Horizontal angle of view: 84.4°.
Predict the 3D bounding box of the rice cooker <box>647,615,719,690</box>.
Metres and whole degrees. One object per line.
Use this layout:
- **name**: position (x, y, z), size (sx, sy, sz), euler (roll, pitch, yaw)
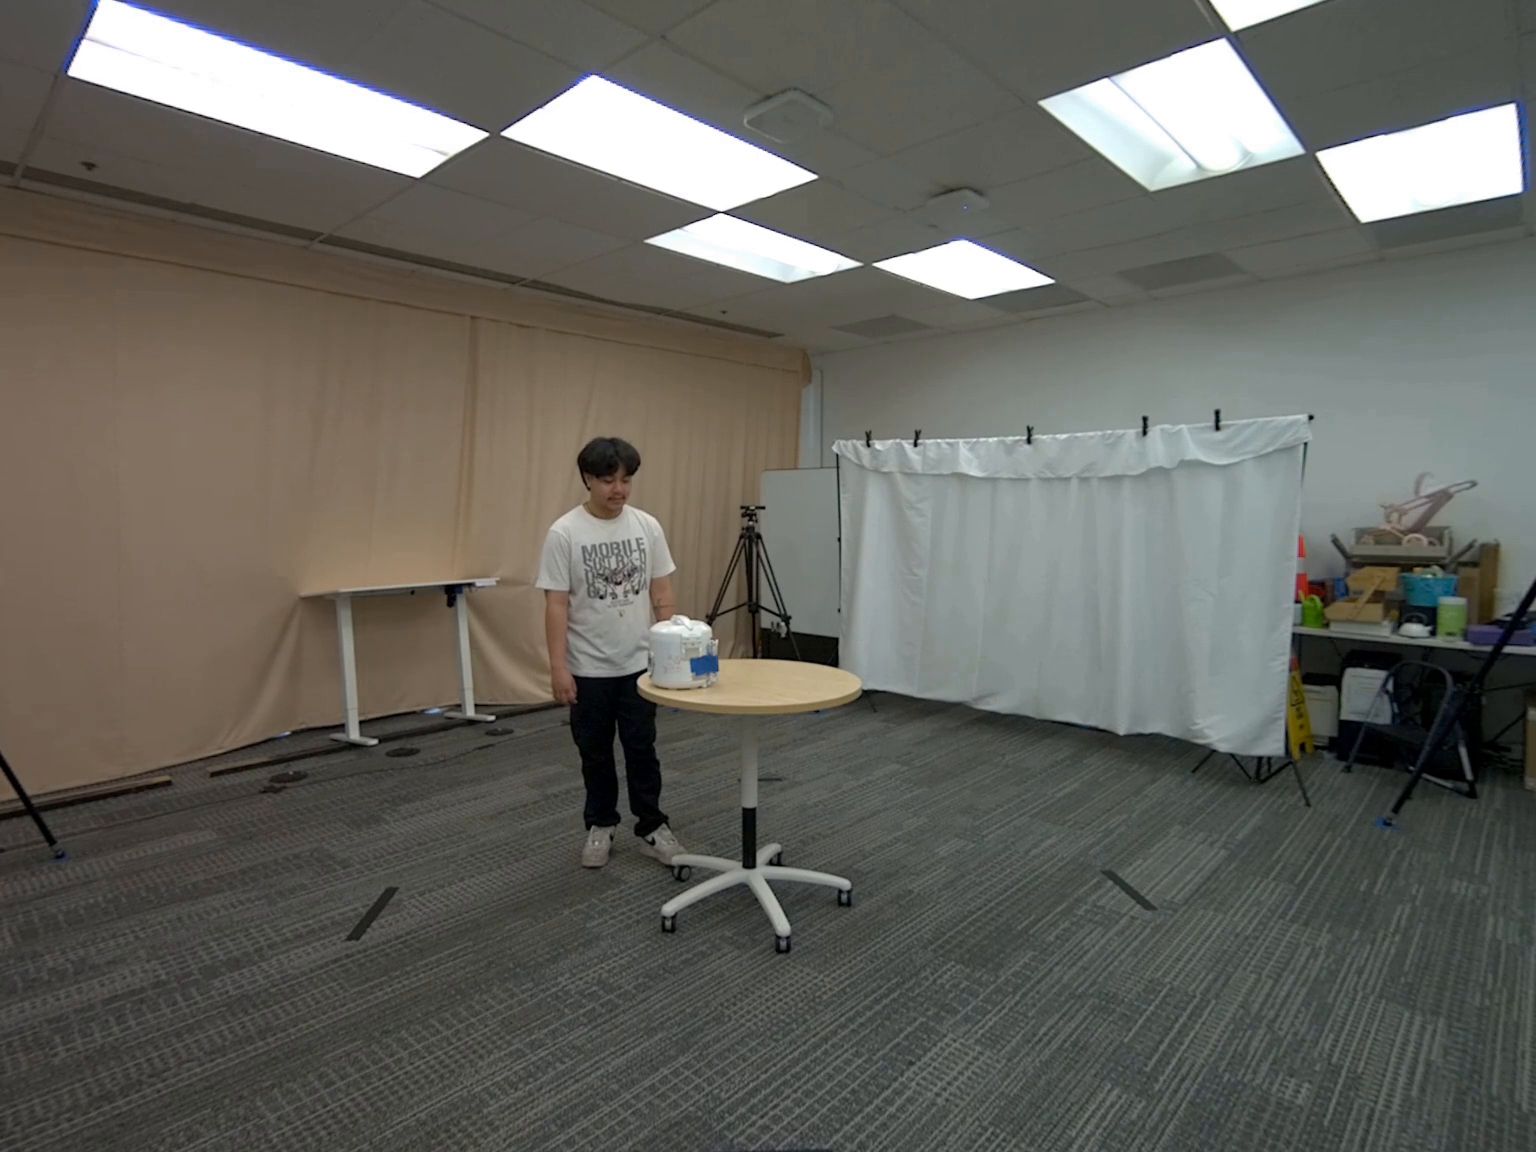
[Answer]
- **rice cooker**: position (-0.289, 0.247, 2.797), size (0.212, 0.232, 0.226), euler (-1, 3, -25)
